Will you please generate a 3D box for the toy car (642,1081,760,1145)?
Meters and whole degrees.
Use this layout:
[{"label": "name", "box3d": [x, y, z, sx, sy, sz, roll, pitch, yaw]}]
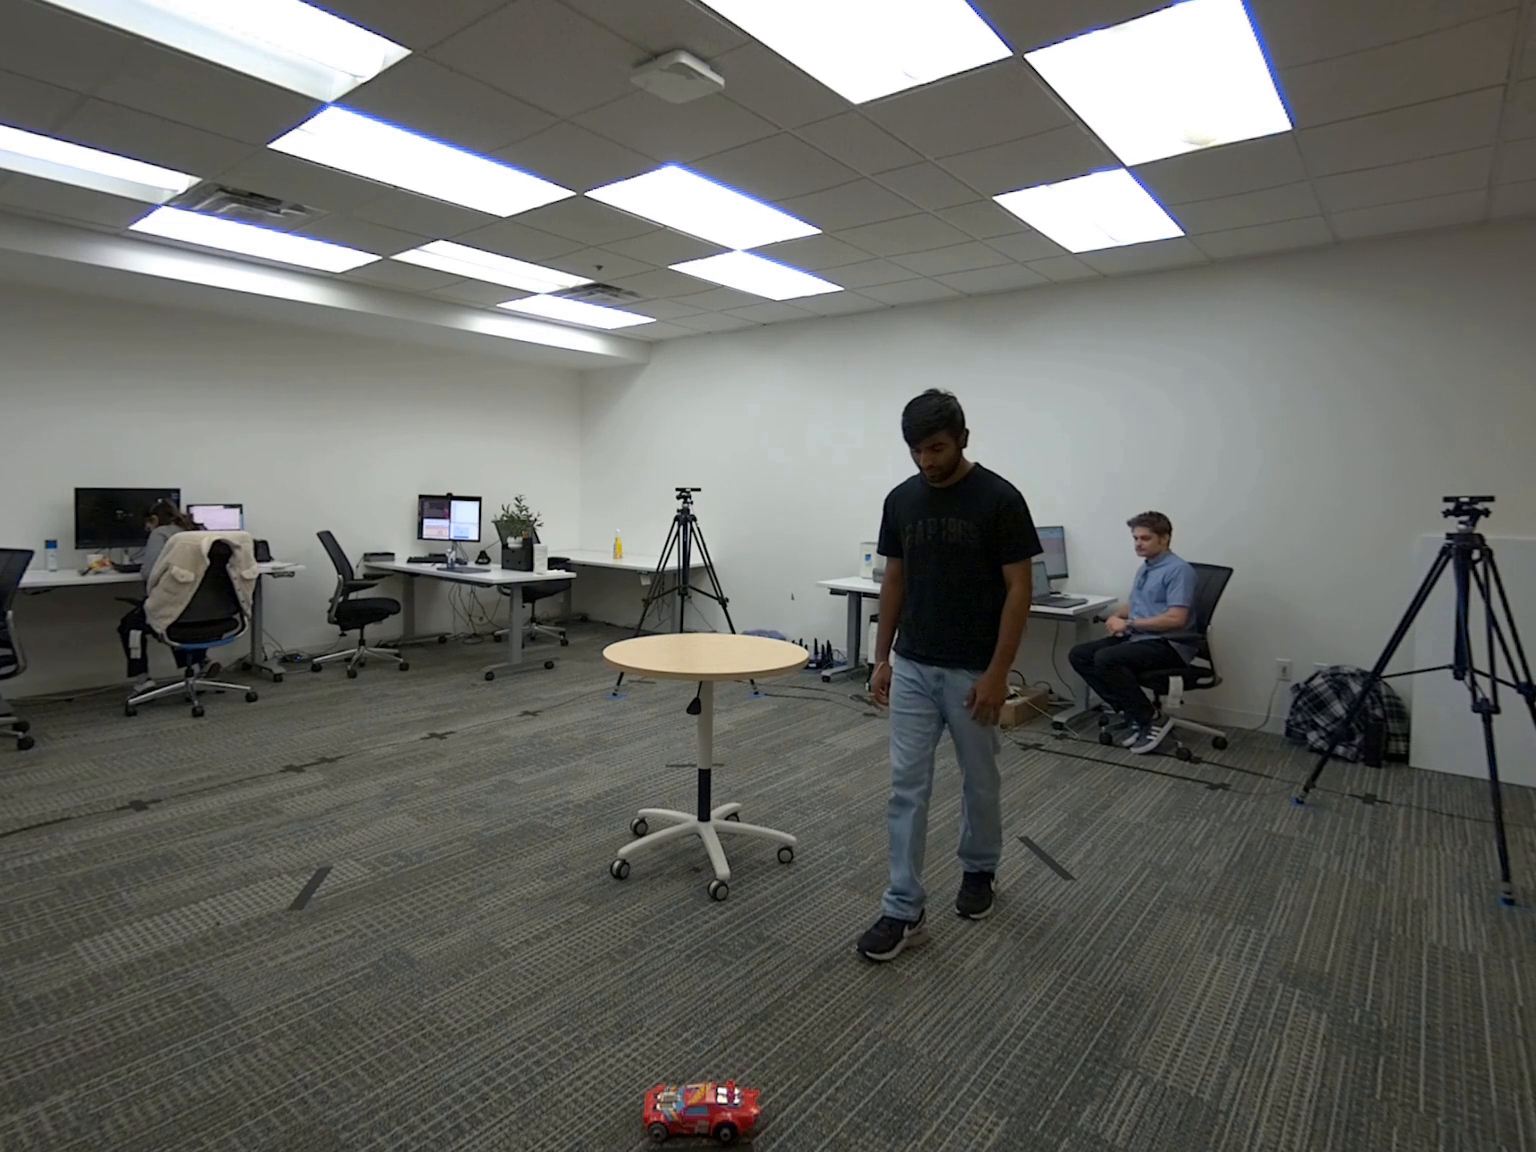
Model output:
[{"label": "toy car", "box3d": [-0.147, 1.166, 1.859, 0.255, 0.083, 0.130, -9, 4, 2]}]
